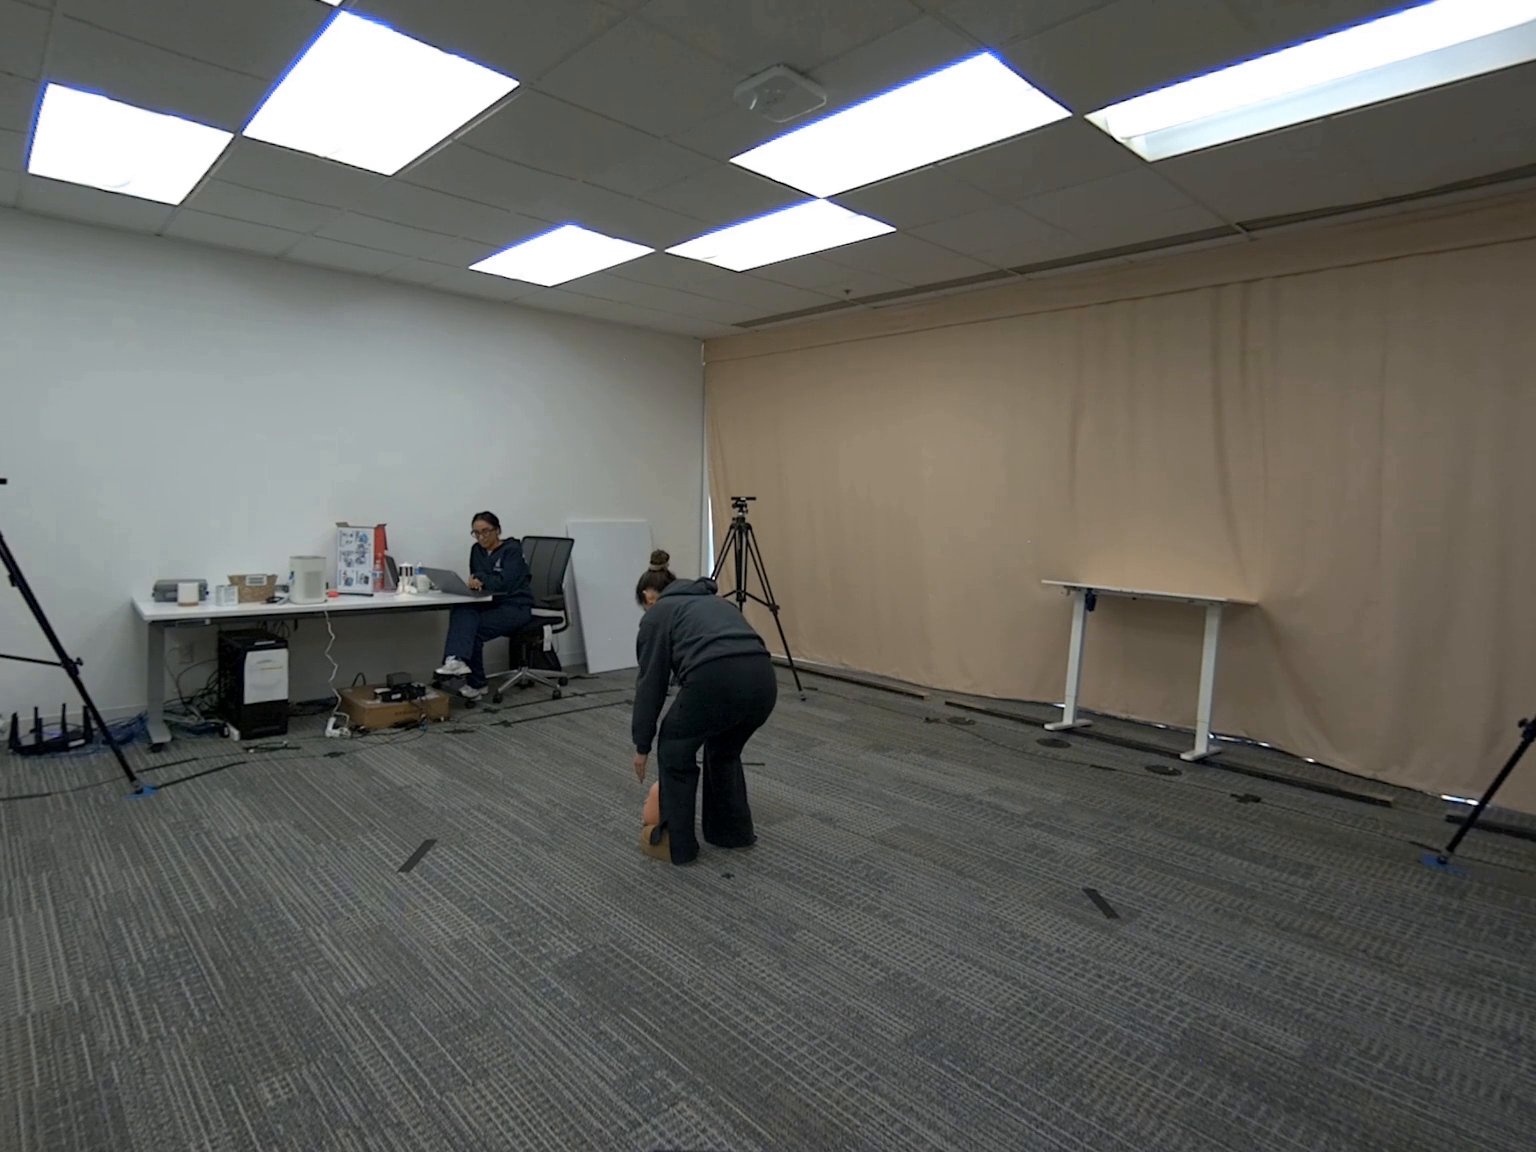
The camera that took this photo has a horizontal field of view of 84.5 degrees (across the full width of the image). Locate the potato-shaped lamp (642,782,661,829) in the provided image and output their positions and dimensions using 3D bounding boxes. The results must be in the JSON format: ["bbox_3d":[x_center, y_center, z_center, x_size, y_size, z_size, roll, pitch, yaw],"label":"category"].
[{"bbox_3d":[-0.458,0.958,3.572,0.176,0.197,0.161,6,5,36],"label":"potato-shaped lamp"}]
